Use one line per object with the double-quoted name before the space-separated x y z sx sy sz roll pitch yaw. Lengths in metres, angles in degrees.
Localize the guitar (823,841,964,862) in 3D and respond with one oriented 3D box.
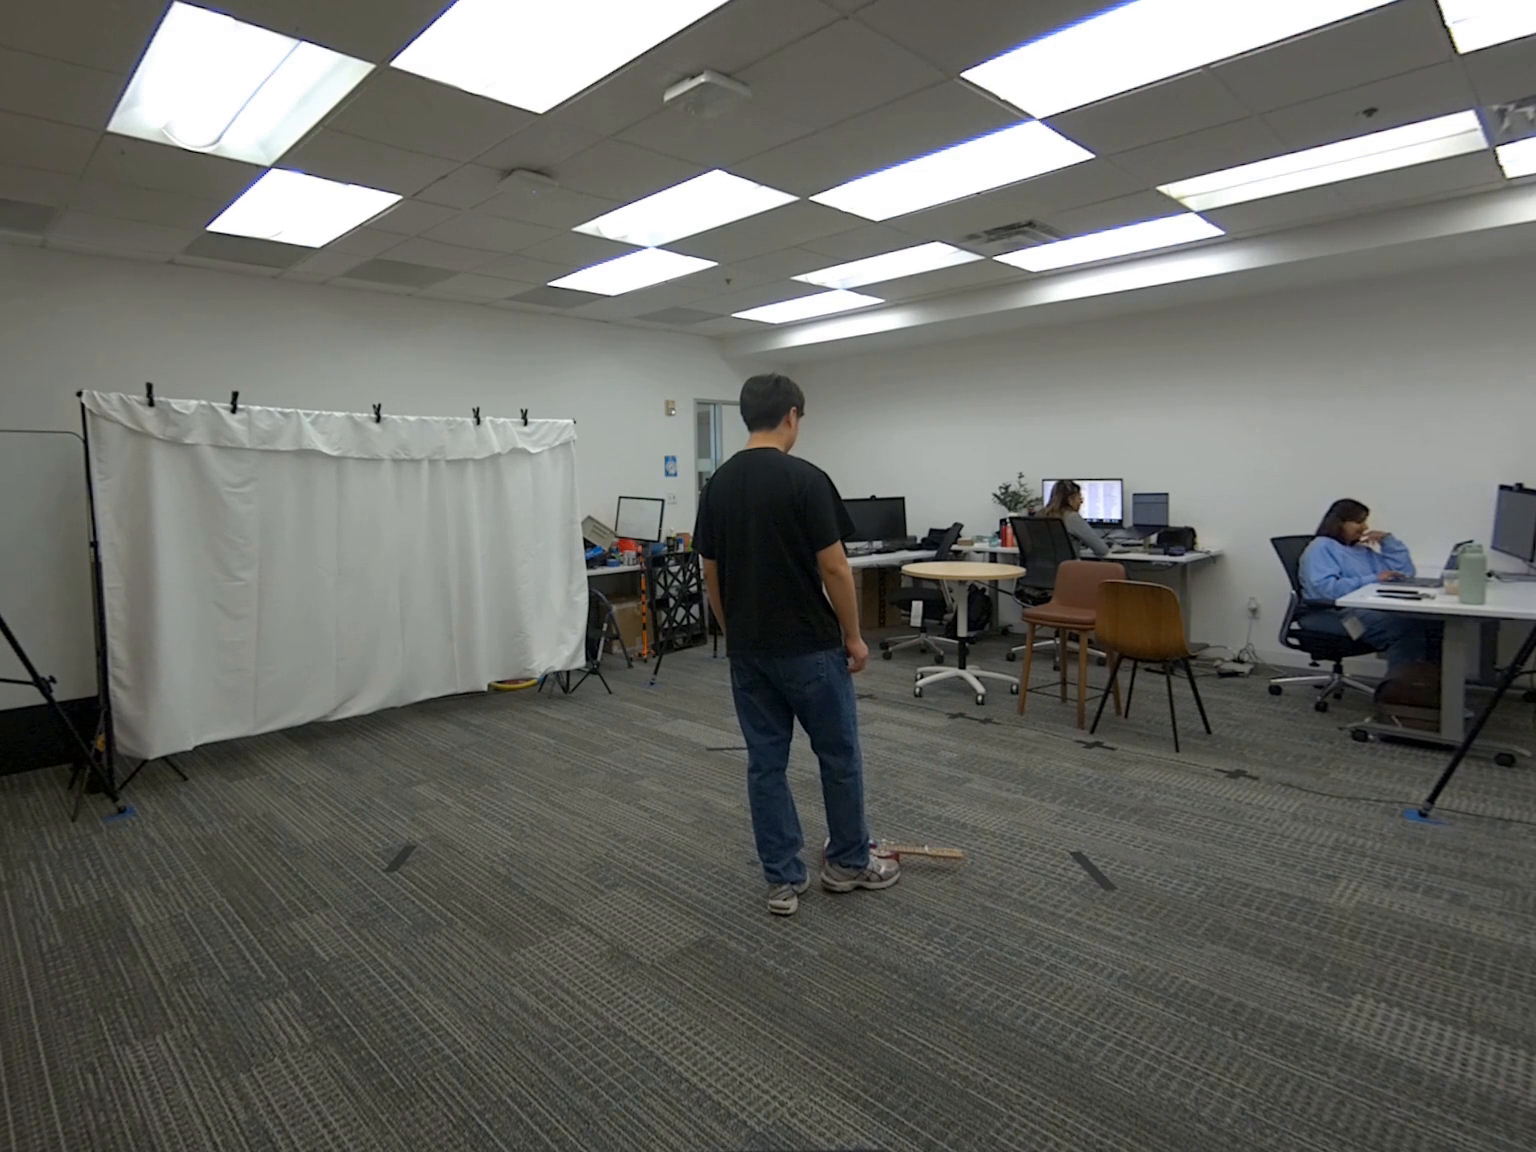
"guitar" 0.440 1.005 3.046 0.508 0.070 0.190 1 6 22
